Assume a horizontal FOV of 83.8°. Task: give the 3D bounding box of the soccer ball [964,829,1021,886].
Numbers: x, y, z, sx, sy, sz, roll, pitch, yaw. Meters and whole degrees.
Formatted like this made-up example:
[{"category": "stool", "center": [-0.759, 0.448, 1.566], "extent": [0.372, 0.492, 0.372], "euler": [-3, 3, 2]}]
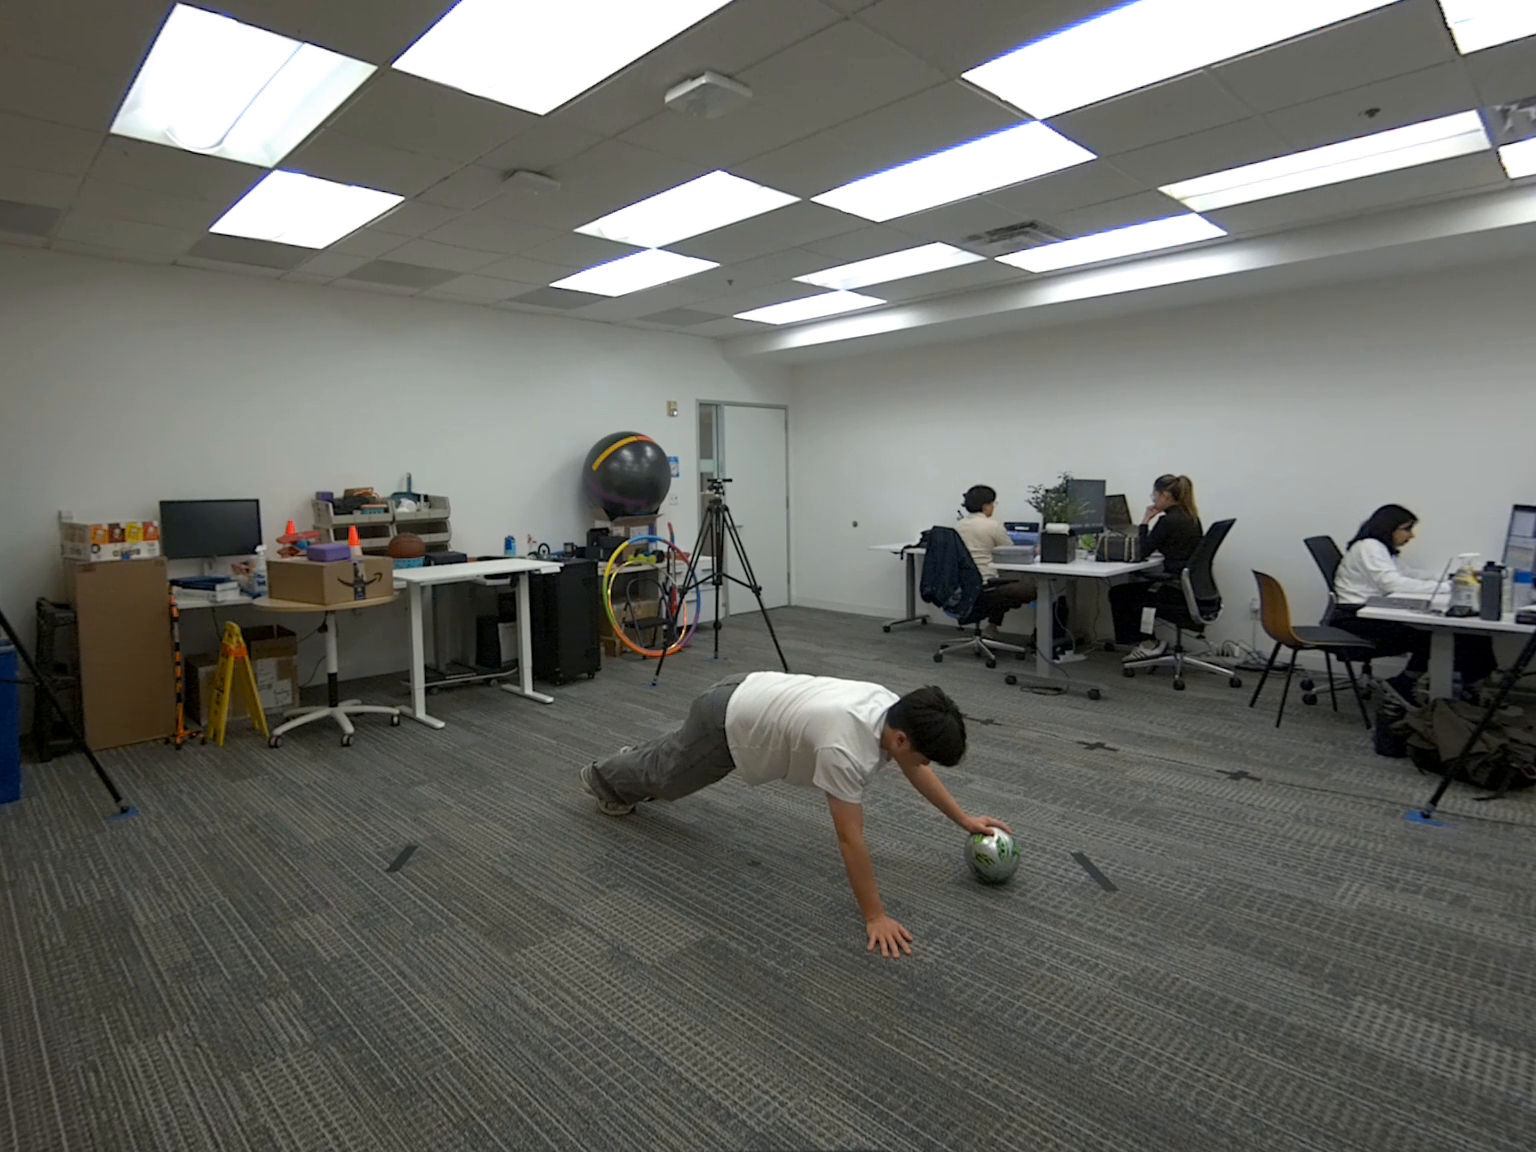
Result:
[{"category": "soccer ball", "center": [0.769, 0.954, 2.949], "extent": [0.187, 0.187, 0.188], "euler": [-1, 5, -2]}]
